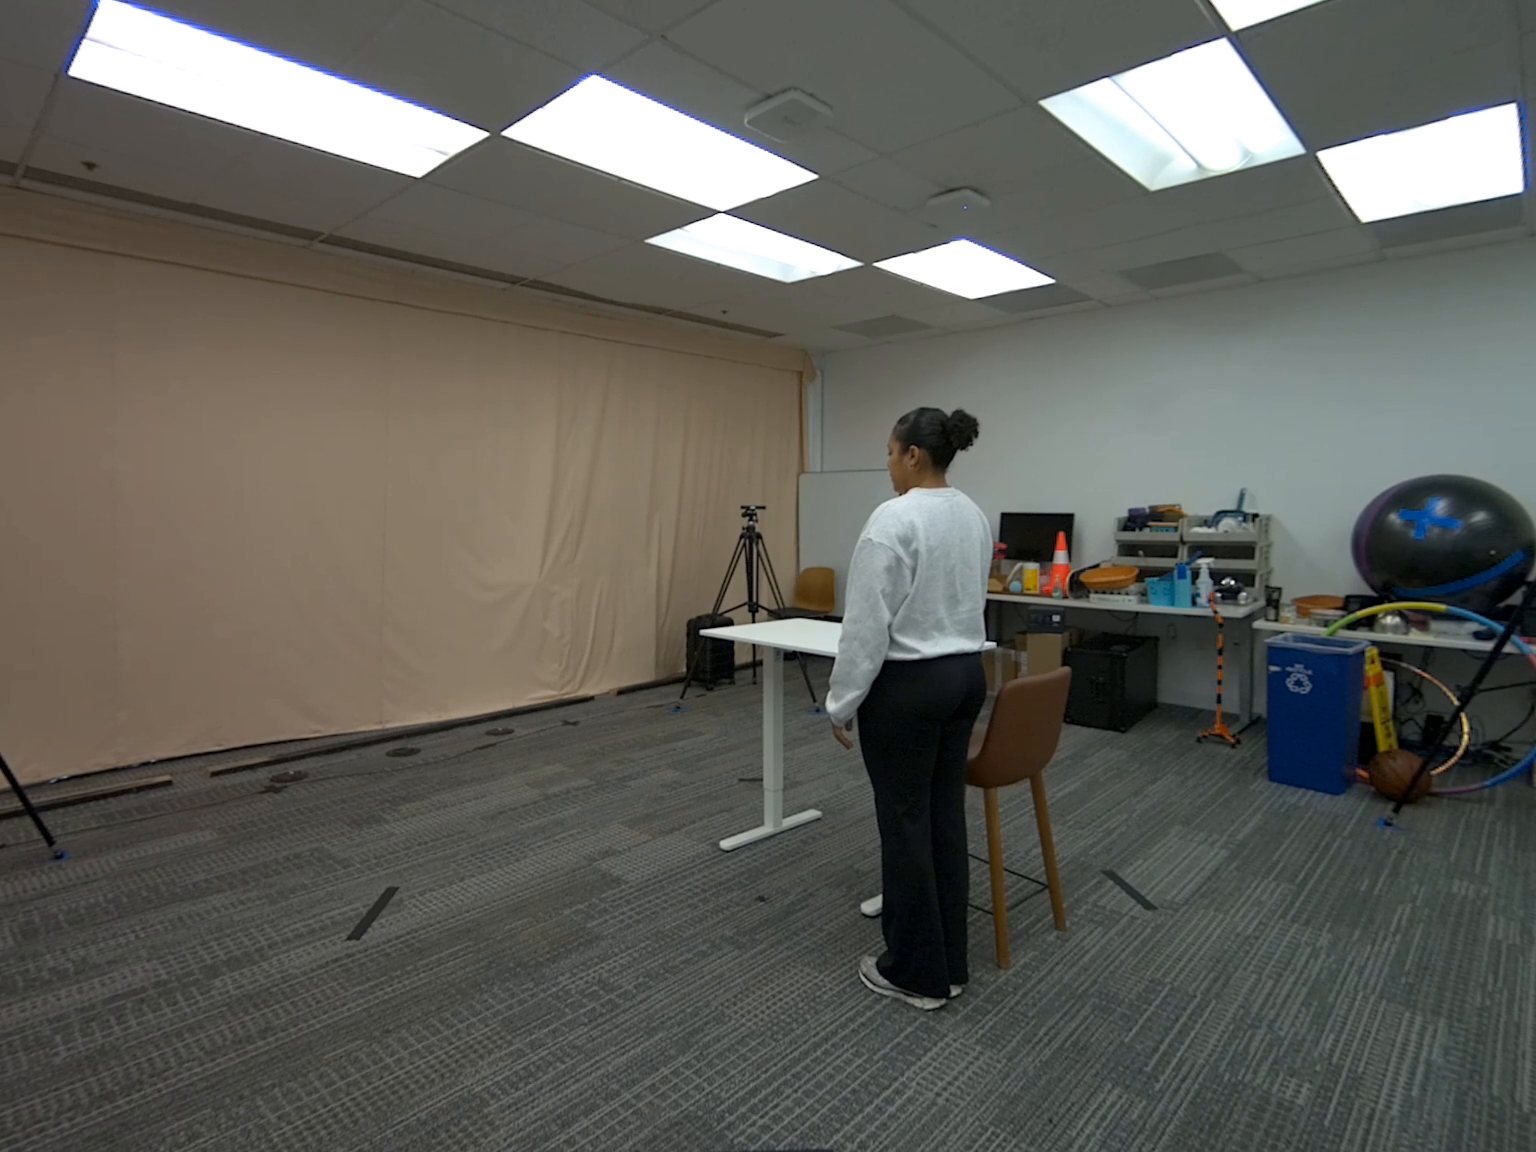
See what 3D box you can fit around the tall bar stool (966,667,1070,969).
[{"bbox_3d":[0.702,0.723,2.784,0.442,0.887,0.484,-3,7,-41],"label":"tall bar stool"}]
